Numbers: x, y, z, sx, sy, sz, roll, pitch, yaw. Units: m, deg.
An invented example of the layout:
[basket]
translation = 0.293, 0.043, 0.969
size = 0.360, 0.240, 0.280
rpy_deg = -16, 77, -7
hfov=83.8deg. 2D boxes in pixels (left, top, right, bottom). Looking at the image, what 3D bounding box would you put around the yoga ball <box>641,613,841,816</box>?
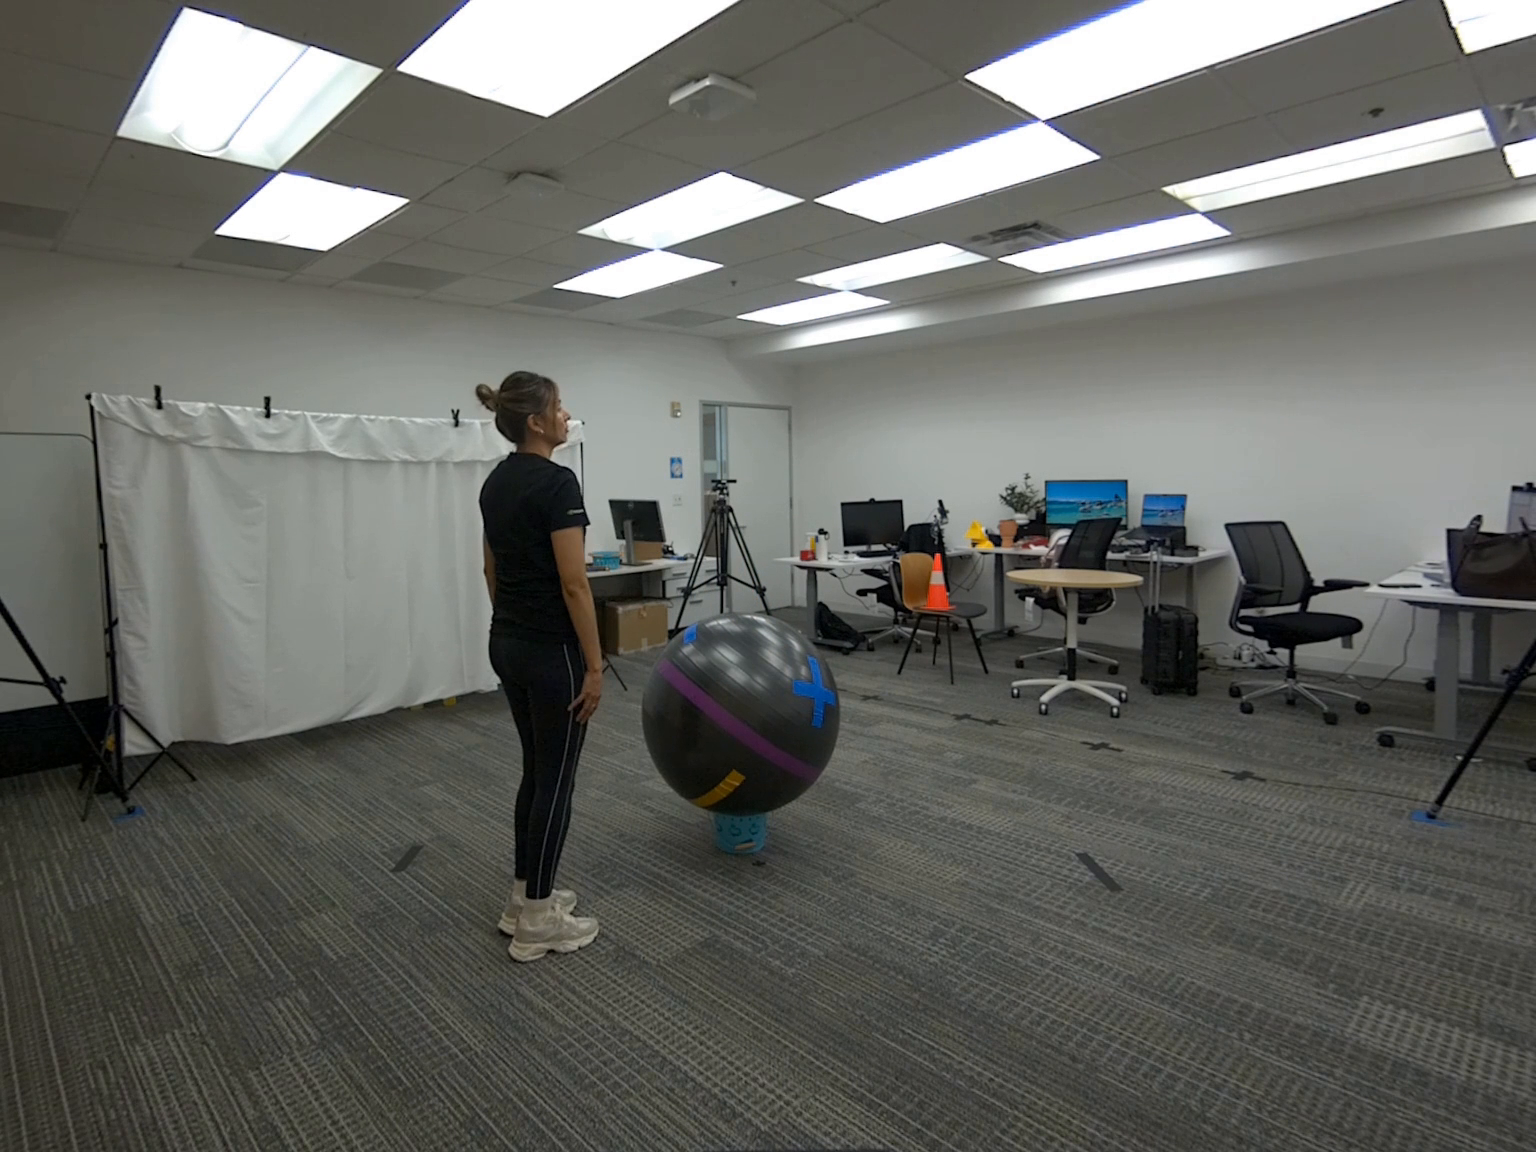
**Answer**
[yoga ball]
translation = -0.104, 0.518, 3.265
size = 0.757, 0.755, 0.762
rpy_deg = -1, 5, -2
